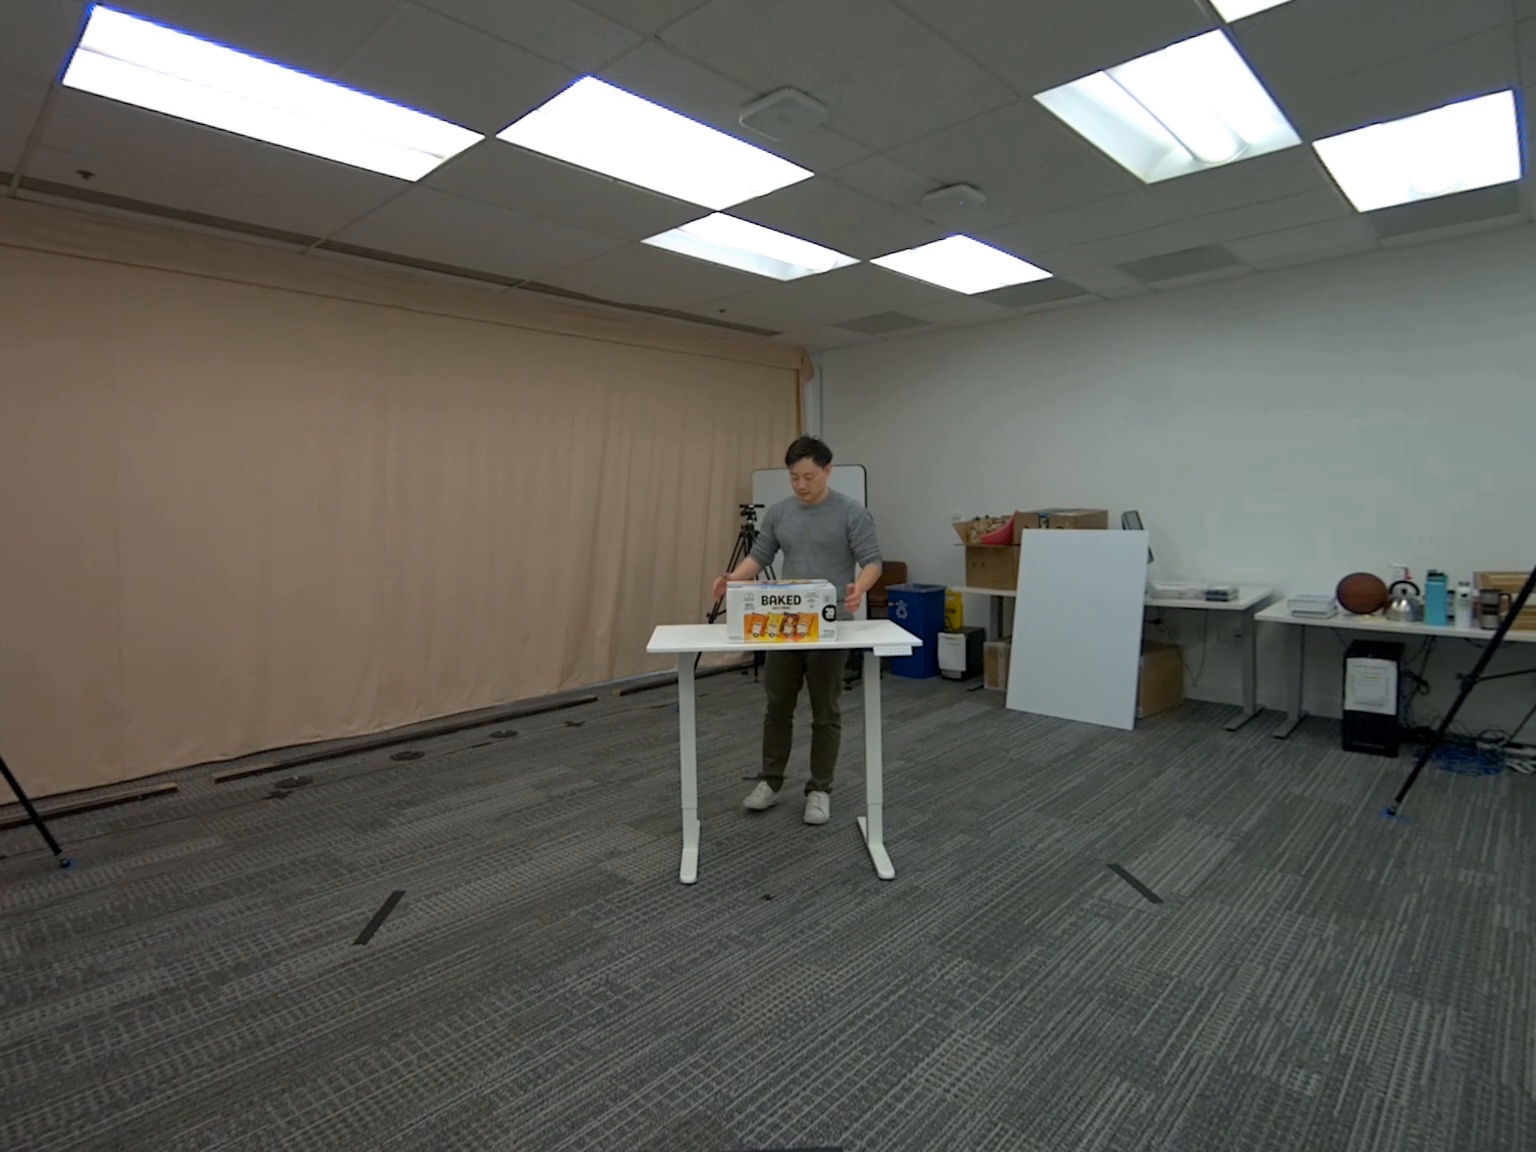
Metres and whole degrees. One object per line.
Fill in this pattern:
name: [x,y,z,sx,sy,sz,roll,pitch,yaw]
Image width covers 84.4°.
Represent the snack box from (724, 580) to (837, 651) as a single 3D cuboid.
snack box: [0.046,0.135,3.272,0.405,0.205,0.341,-1,3,0]
